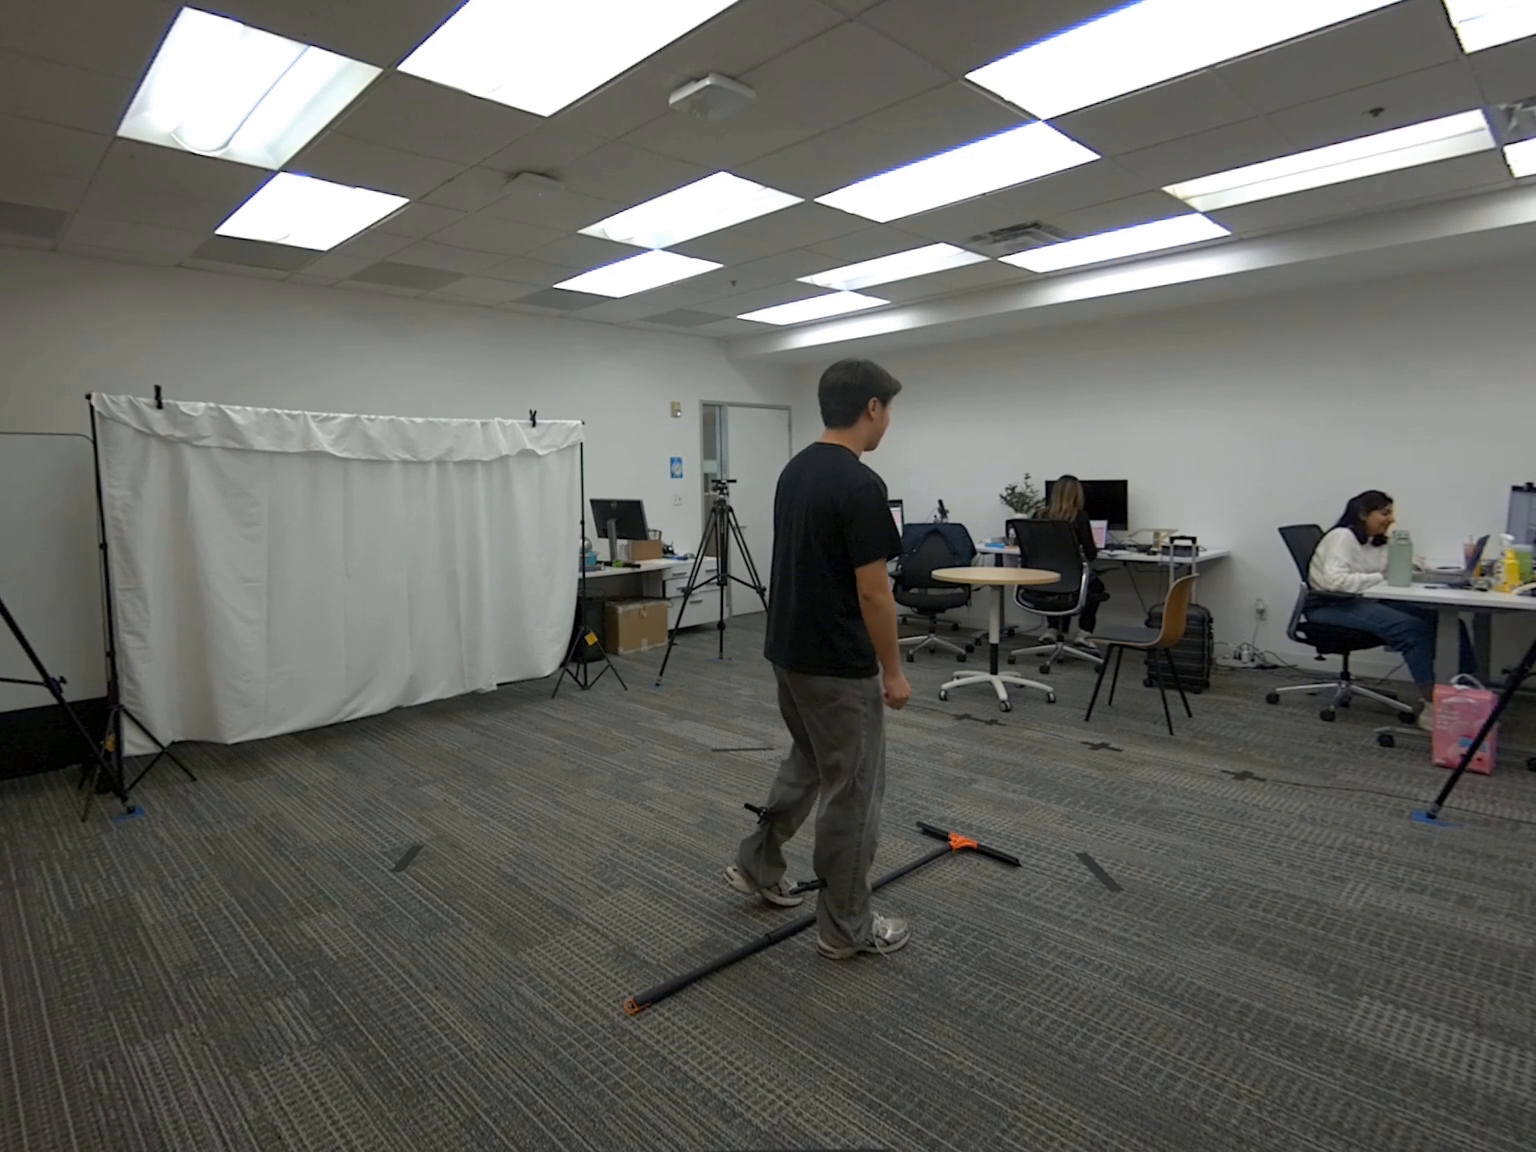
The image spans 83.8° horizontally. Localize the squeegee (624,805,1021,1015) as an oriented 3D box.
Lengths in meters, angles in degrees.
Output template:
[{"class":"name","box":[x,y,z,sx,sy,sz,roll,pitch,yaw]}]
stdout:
[{"class":"squeegee","box":[0.202,1.050,2.731,1.499,0.053,0.450,-8,8,-40]}]
